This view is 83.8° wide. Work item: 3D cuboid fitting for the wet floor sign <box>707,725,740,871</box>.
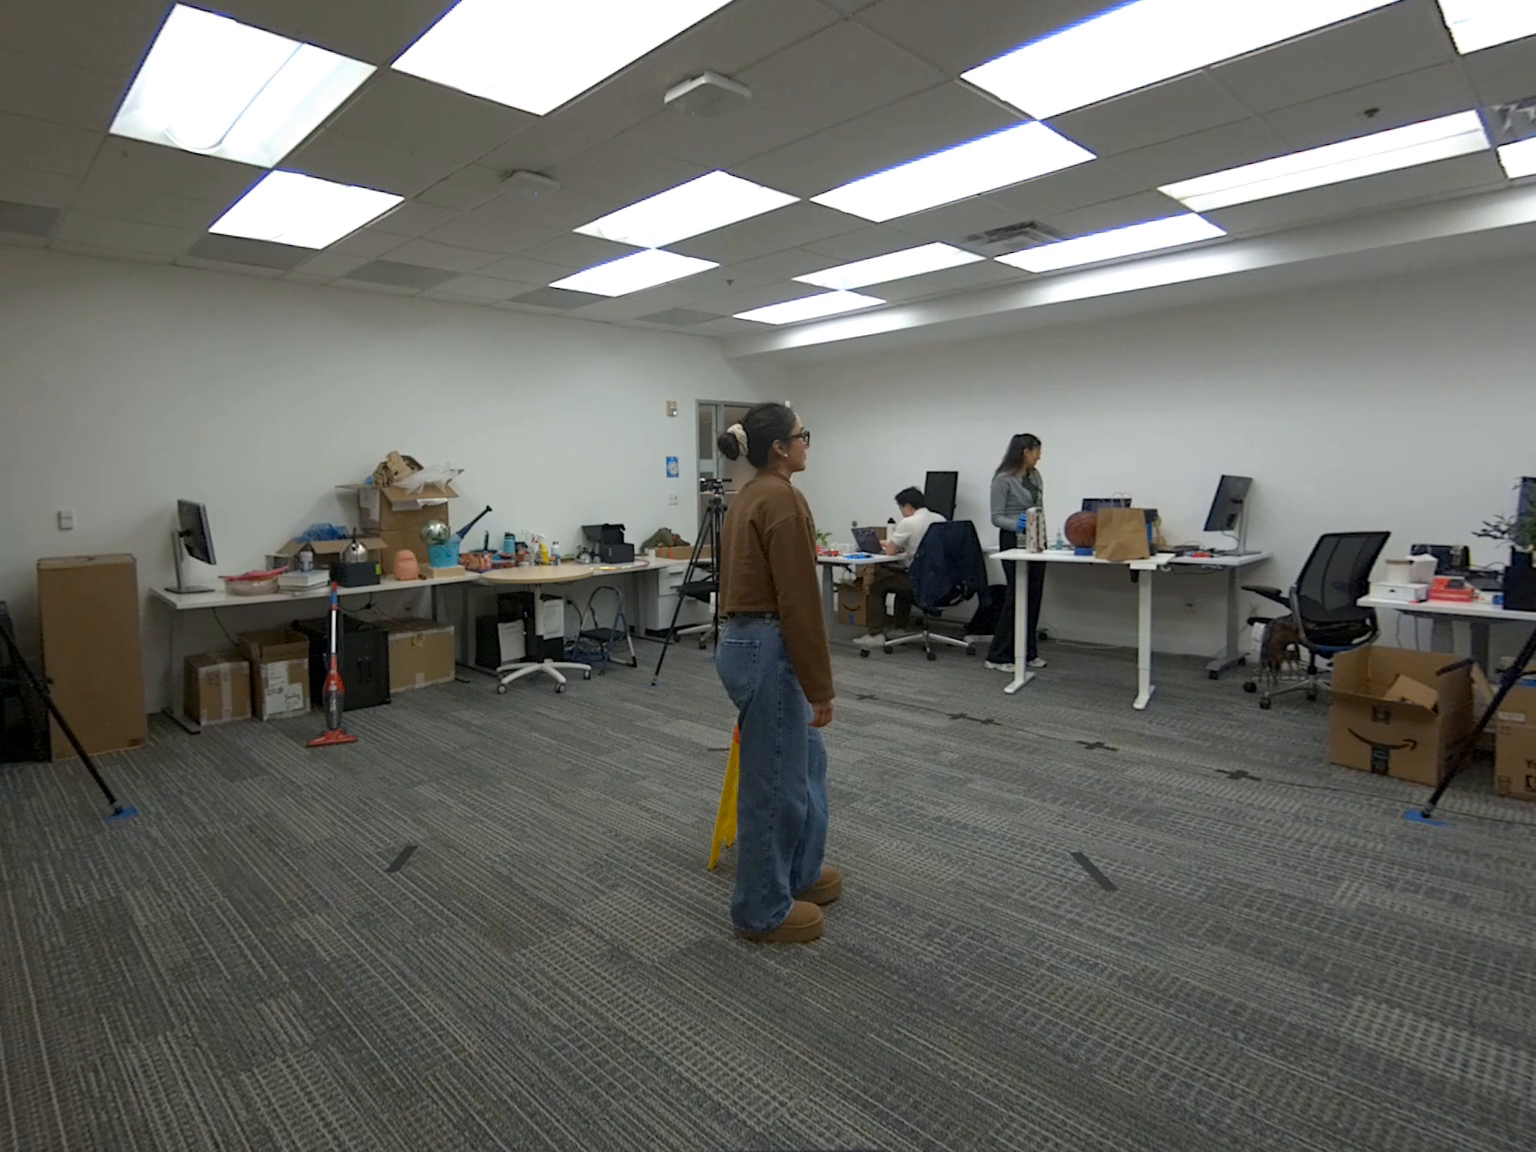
[{"bbox_3d":[-0.052,0.719,3.123,0.294,0.644,0.279,-1,4,16],"label":"wet floor sign"}]
